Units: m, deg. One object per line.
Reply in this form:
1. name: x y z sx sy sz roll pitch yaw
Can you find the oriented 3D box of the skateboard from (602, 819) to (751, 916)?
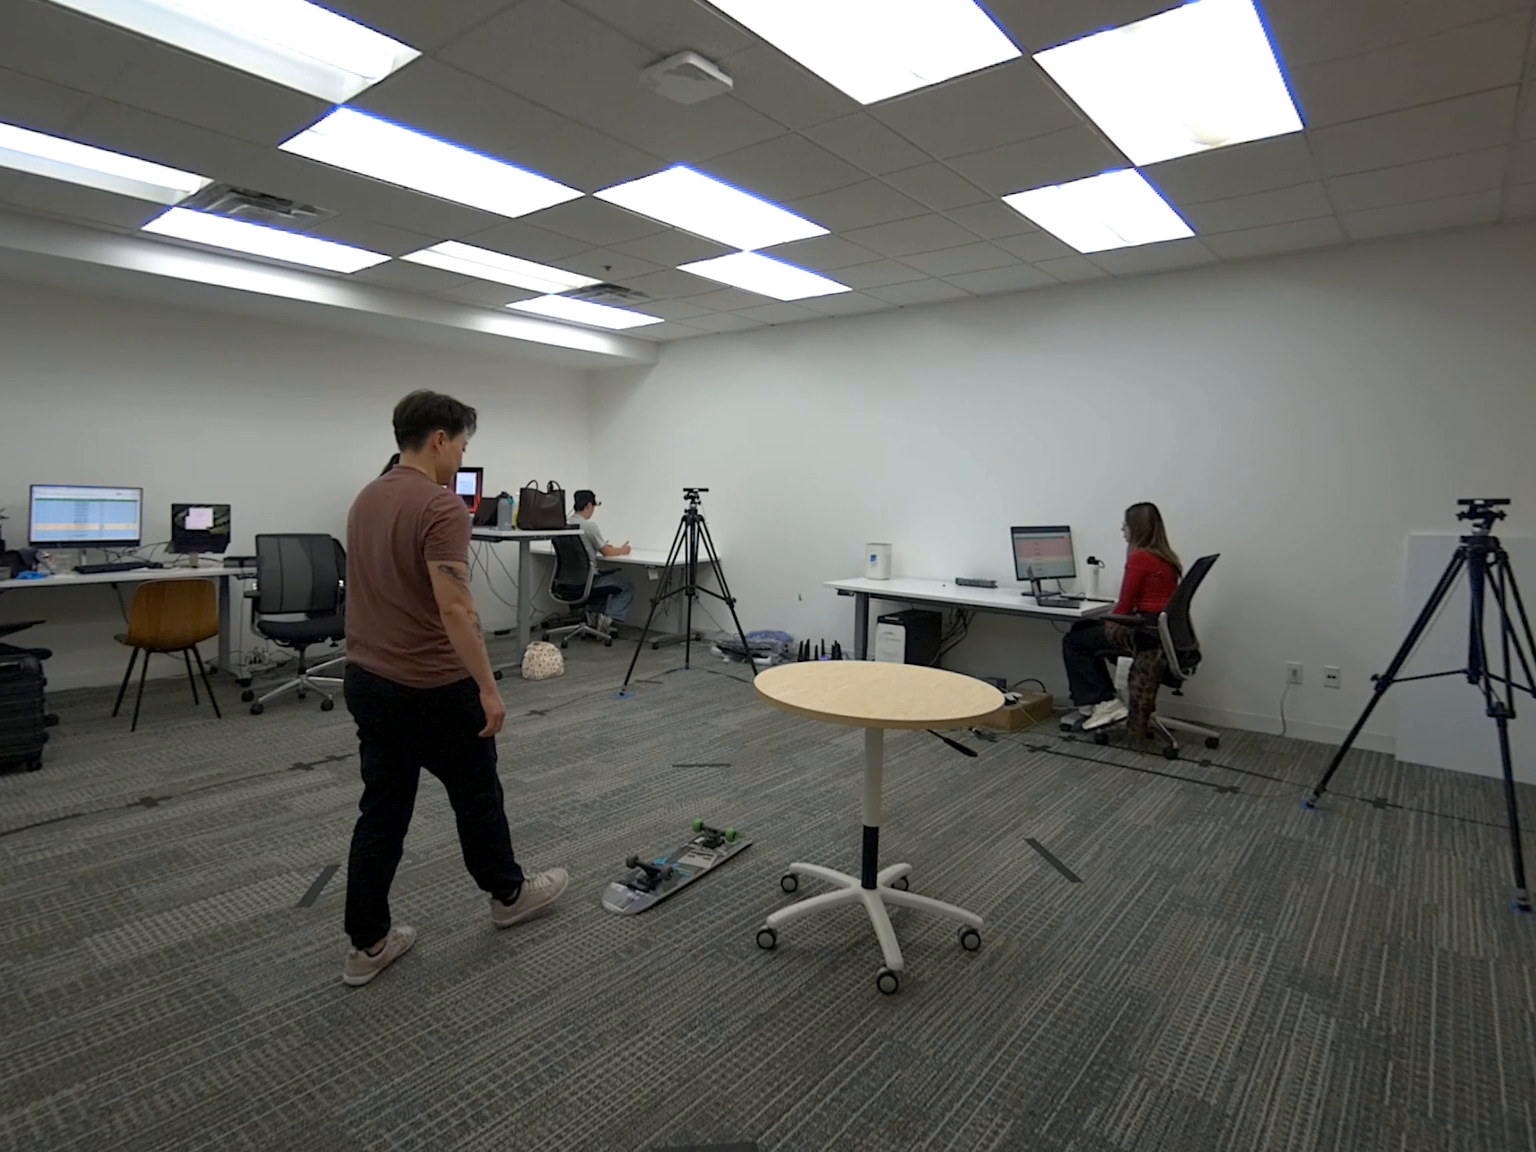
1. skateboard: -0.318 1.015 3.093 0.199 0.110 0.765 5 7 32
